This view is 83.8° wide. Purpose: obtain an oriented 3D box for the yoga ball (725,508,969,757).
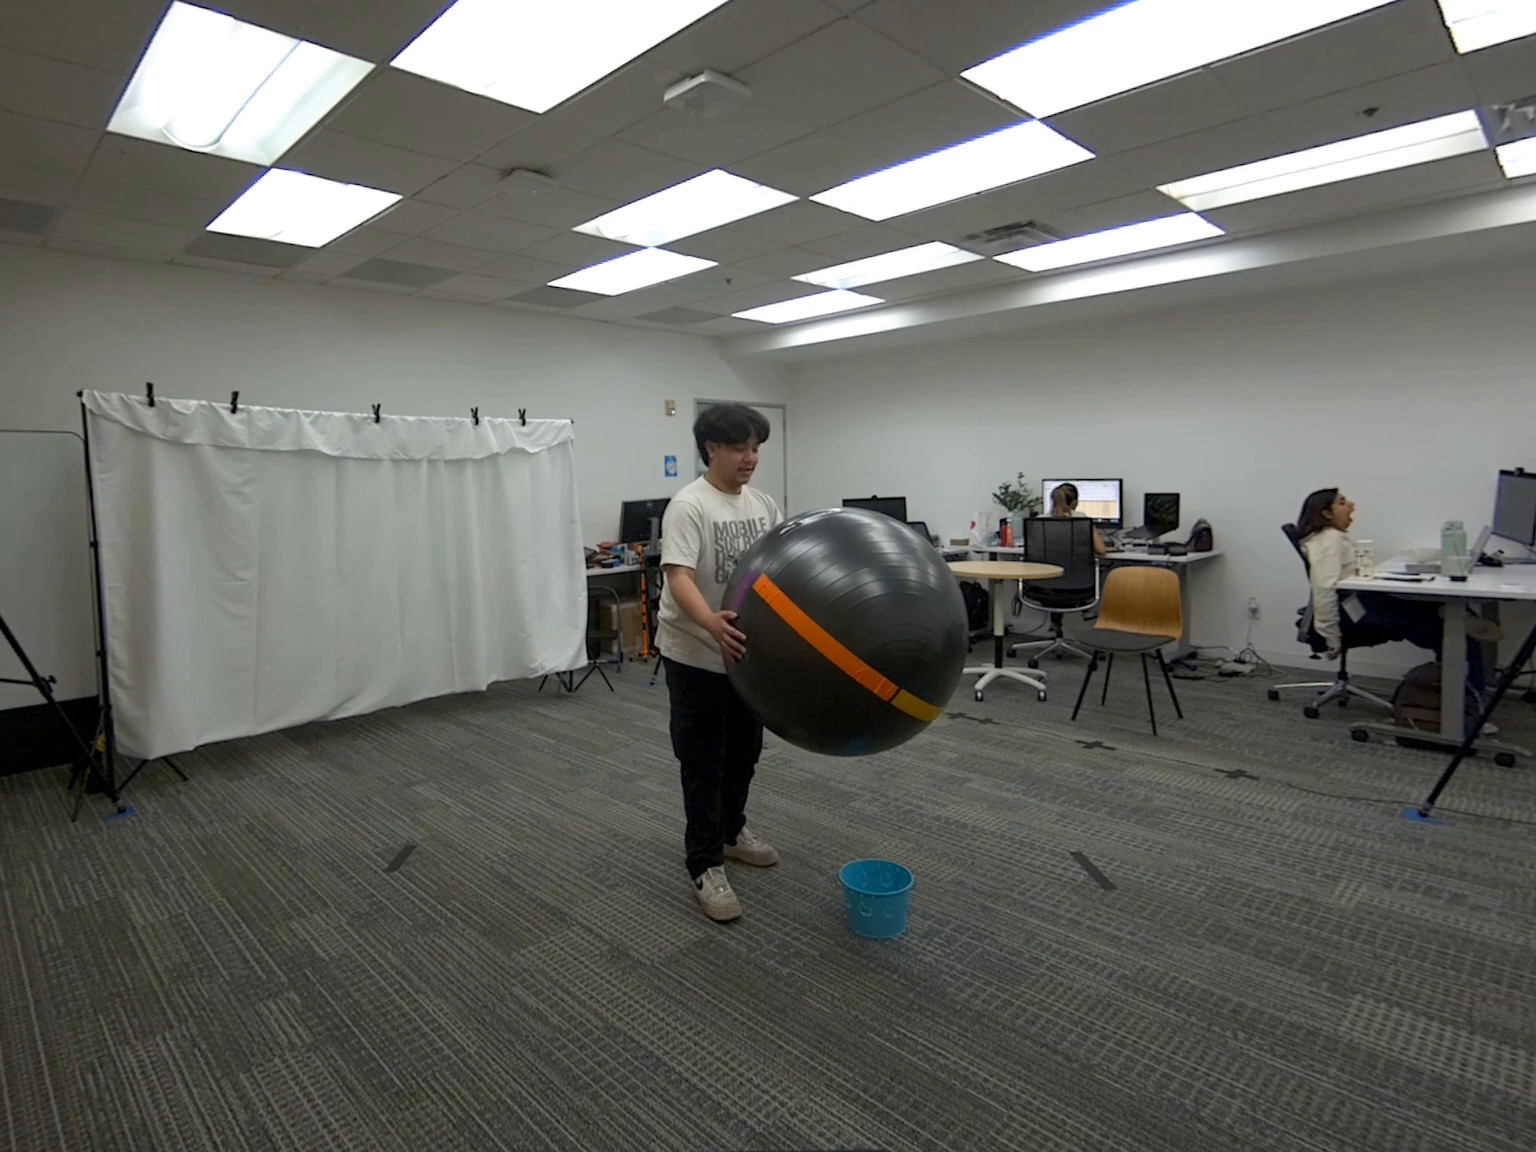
[{"bbox_3d":[0.245,0.171,2.620,0.757,0.755,0.762,-1,5,-2],"label":"yoga ball"}]
